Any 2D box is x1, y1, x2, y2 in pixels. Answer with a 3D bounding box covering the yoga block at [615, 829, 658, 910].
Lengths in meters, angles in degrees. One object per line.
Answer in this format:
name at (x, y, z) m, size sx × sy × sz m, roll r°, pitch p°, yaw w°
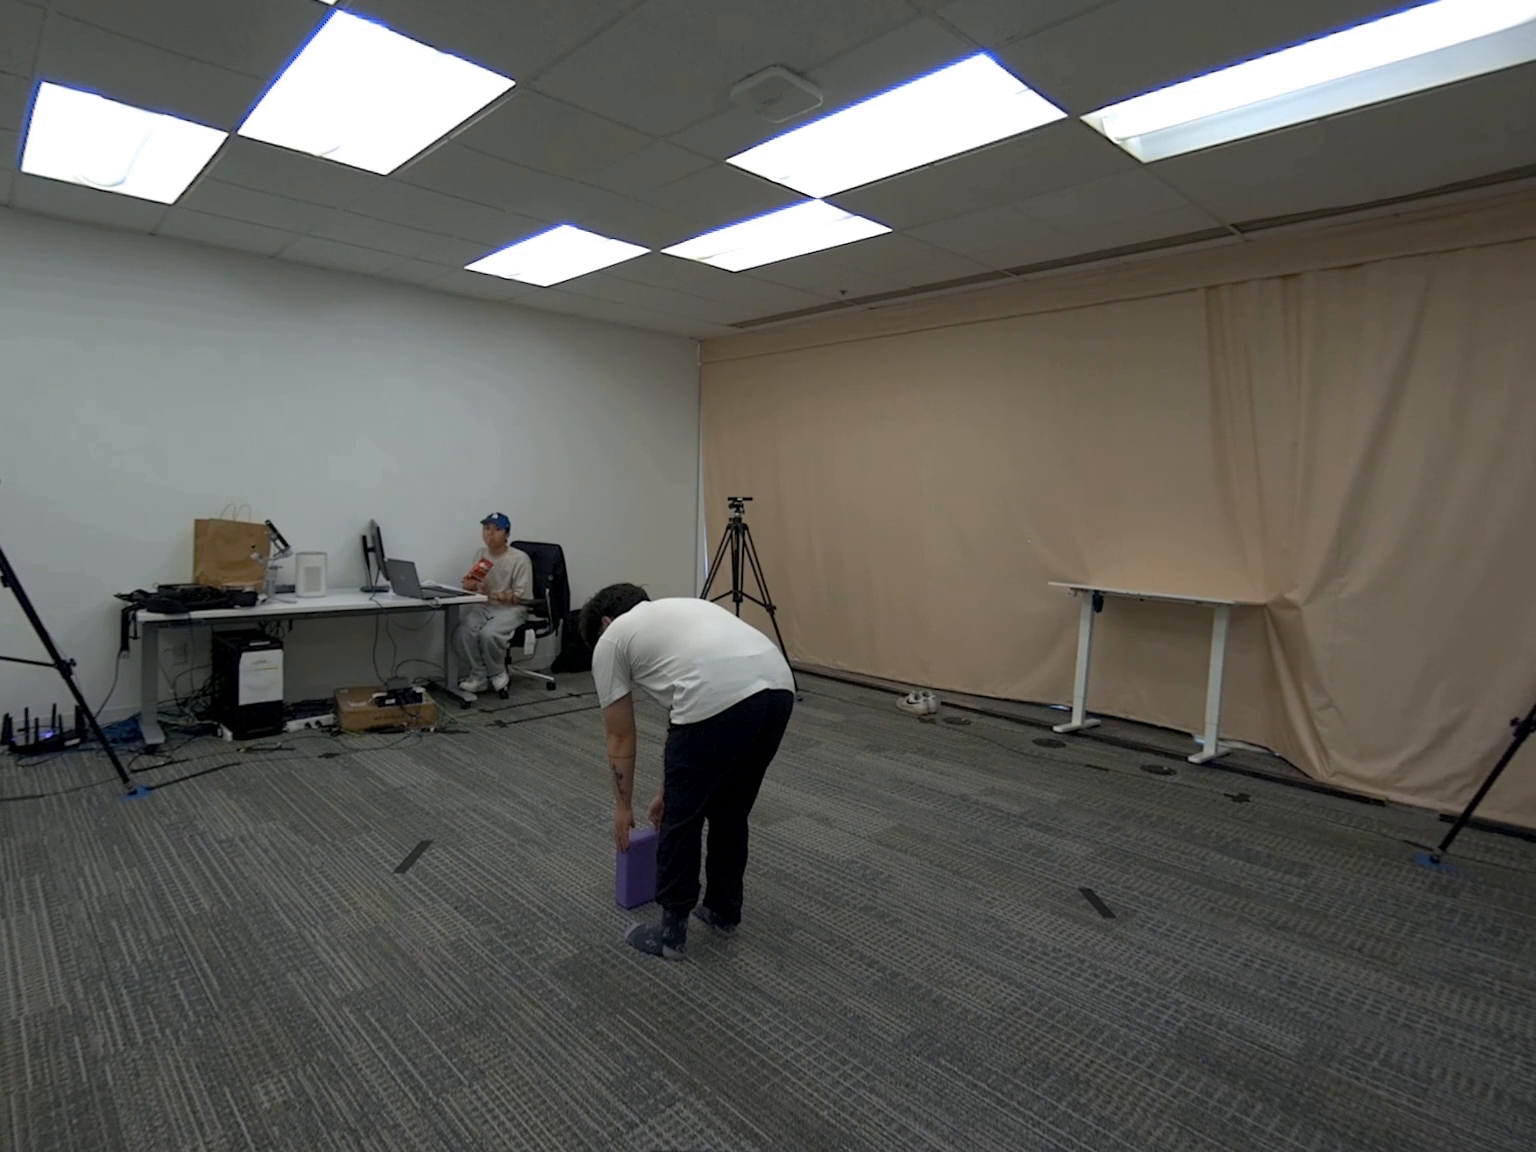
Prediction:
yoga block at (-0.453, 1.011, 2.889) m, size 0.146 × 0.228 × 0.078 m, roll -4°, pitch 8°, yaw -44°
